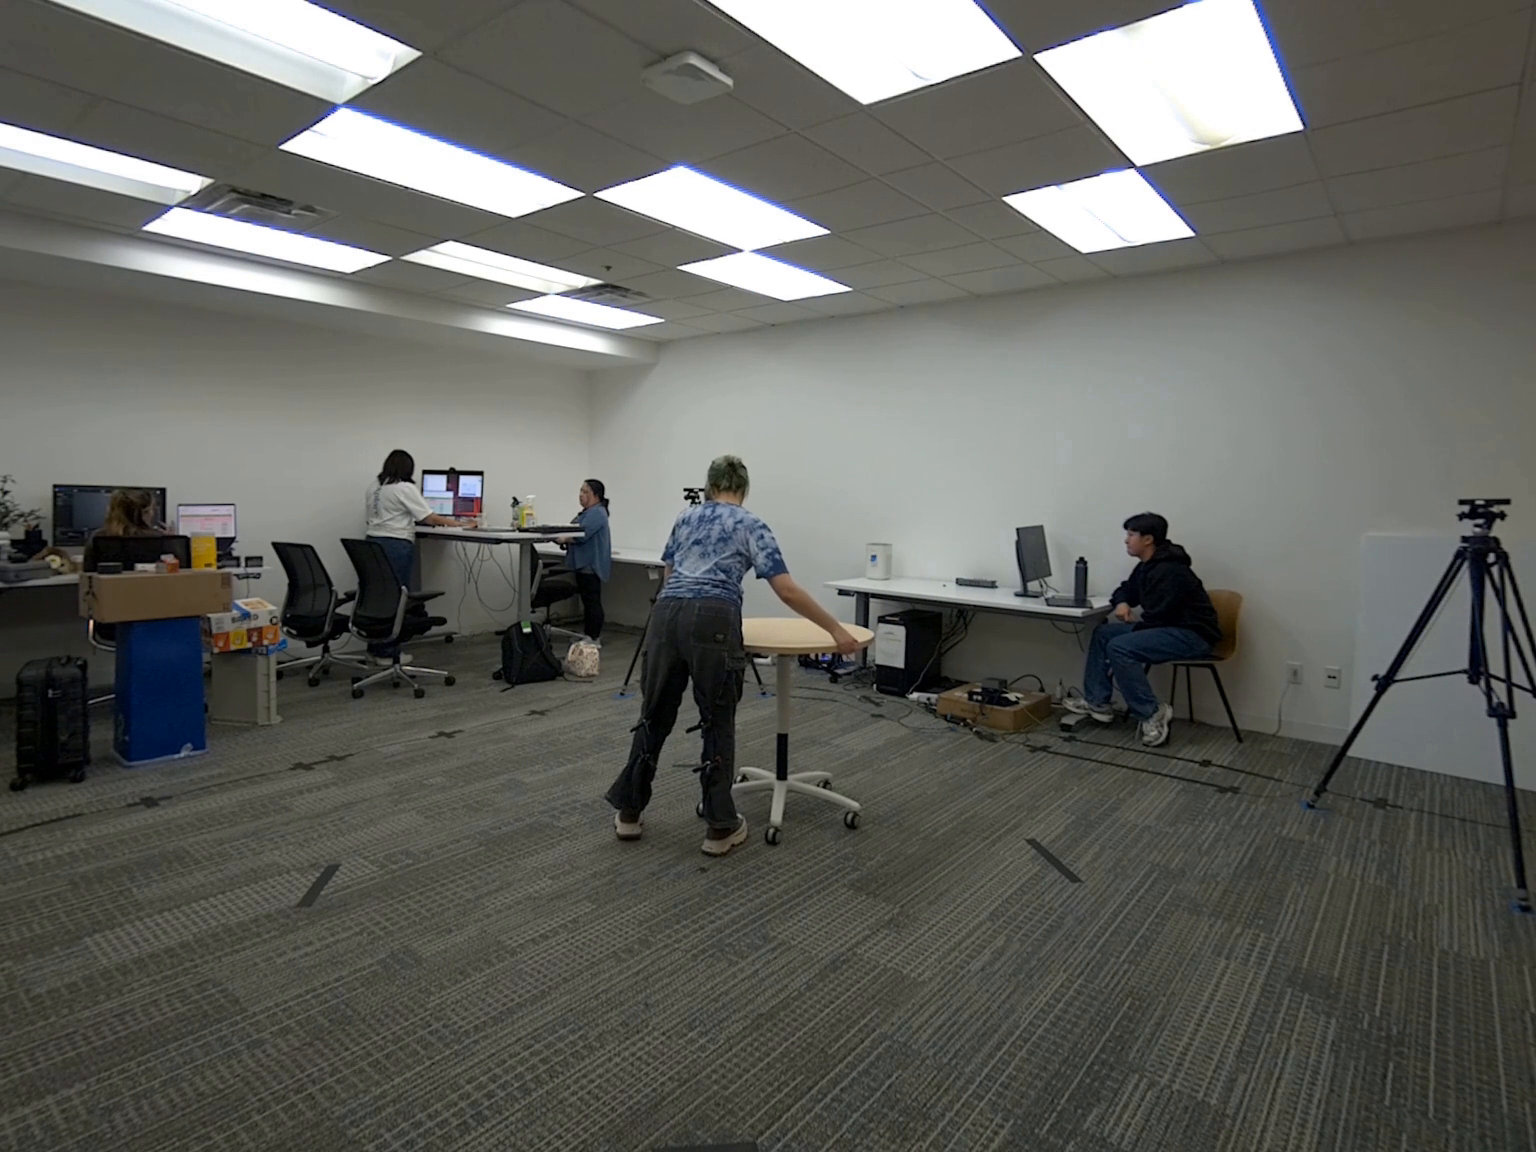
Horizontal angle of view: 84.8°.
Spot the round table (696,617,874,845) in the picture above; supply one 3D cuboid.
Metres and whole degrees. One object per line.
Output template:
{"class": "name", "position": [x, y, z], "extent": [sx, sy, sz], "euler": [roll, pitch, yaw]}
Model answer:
{"class": "round table", "position": [0.053, 0.630, 3.683], "extent": [0.763, 0.792, 0.767], "euler": [1, 4, -2]}
